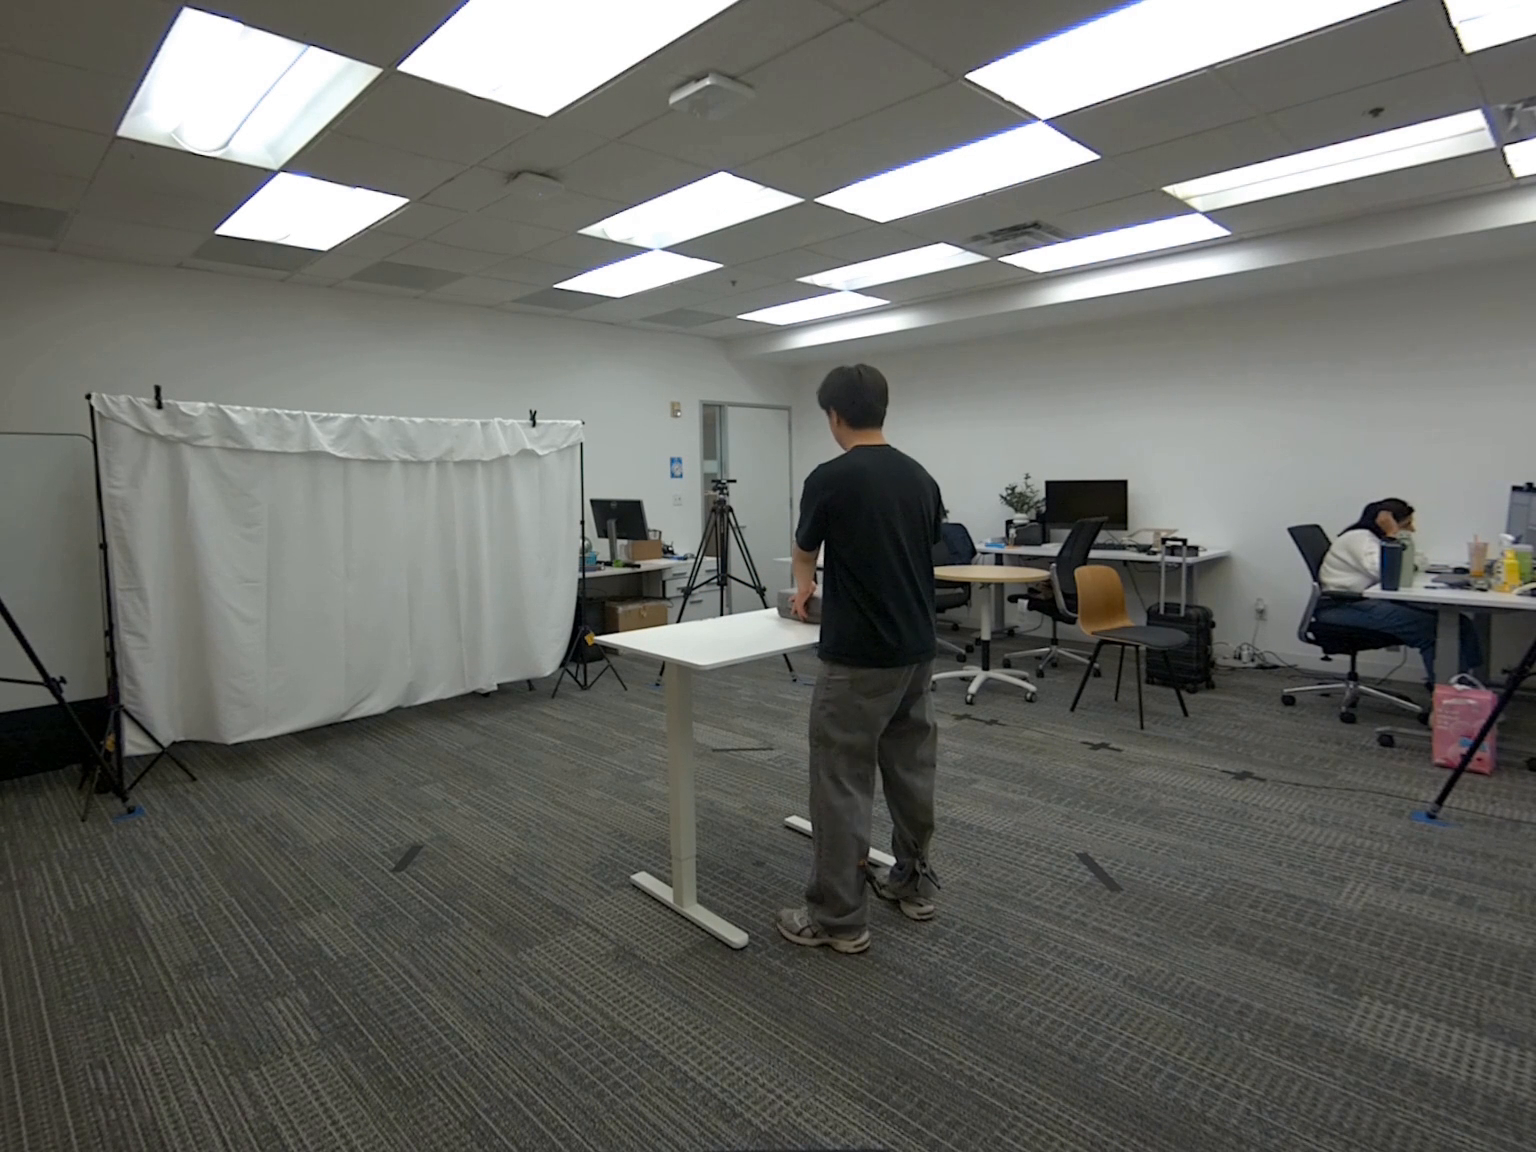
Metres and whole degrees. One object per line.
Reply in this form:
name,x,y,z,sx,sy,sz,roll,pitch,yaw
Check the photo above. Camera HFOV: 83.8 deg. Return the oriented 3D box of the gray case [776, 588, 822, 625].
gray case,0.181,0.101,3.158,0.280,0.102,0.271,-6,8,-33
